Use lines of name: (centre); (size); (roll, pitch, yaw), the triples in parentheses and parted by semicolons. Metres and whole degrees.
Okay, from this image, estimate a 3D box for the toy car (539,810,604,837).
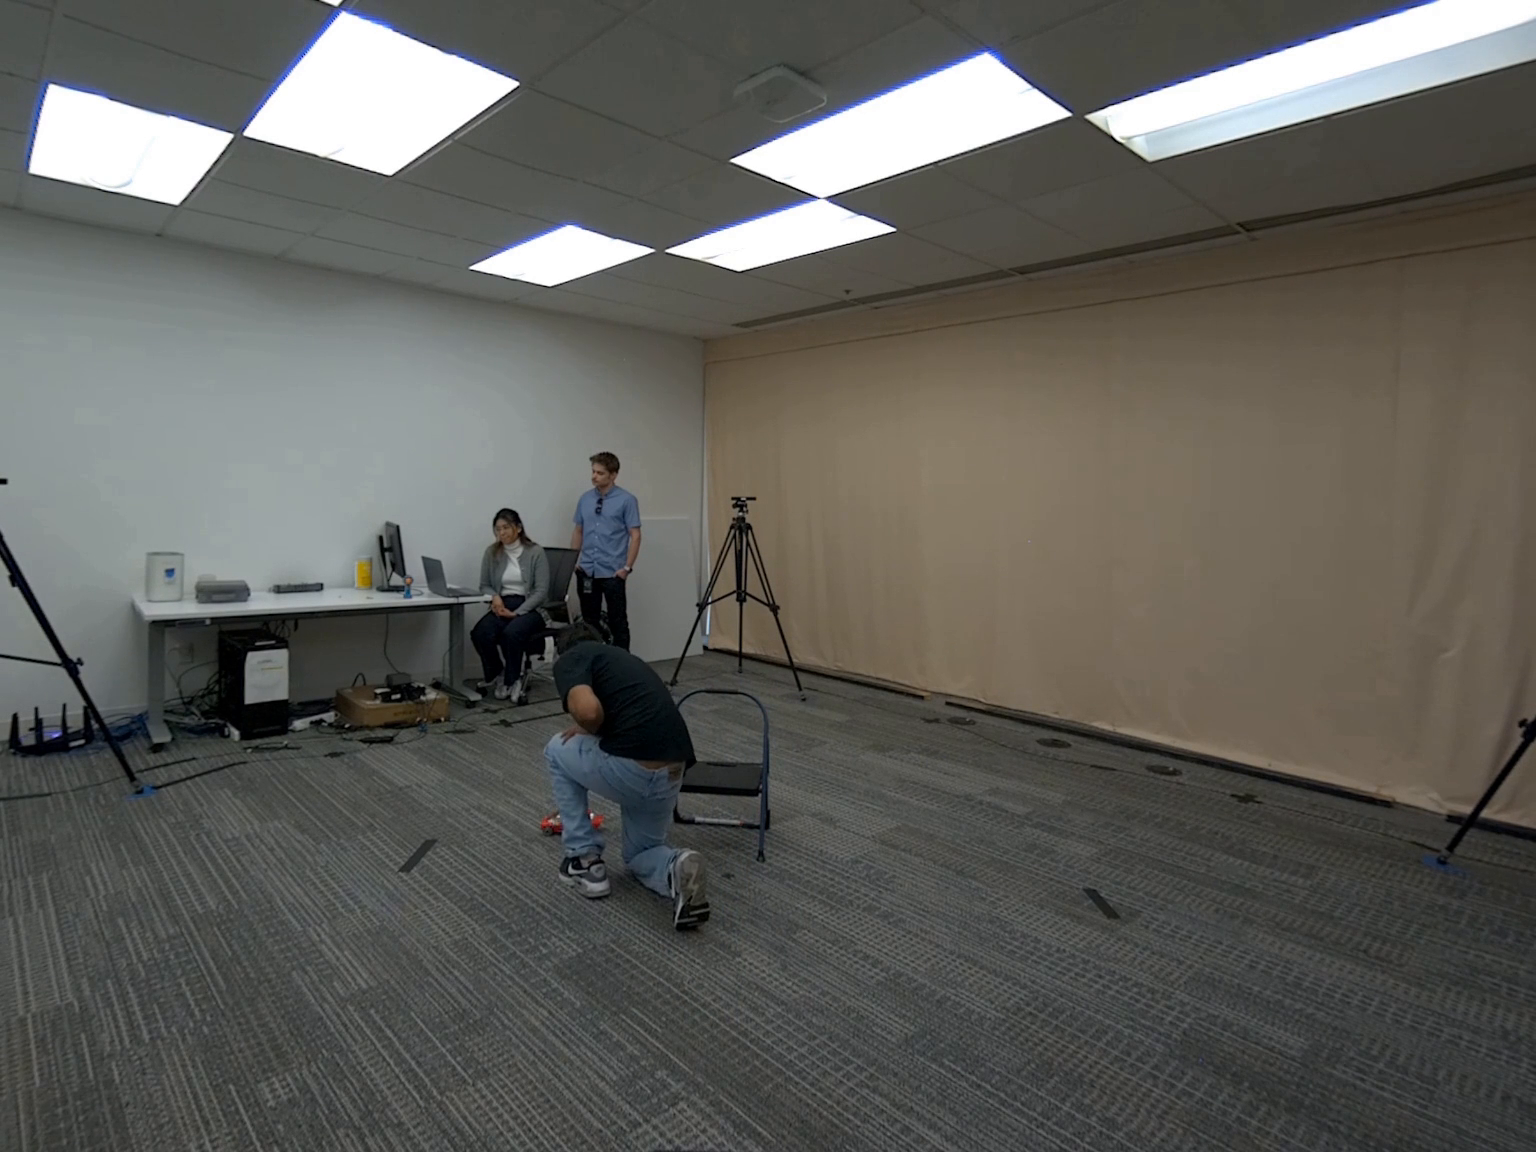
toy car: (-0.812, 1.026, 3.490); (0.254, 0.083, 0.131); (-9, 4, 0)
